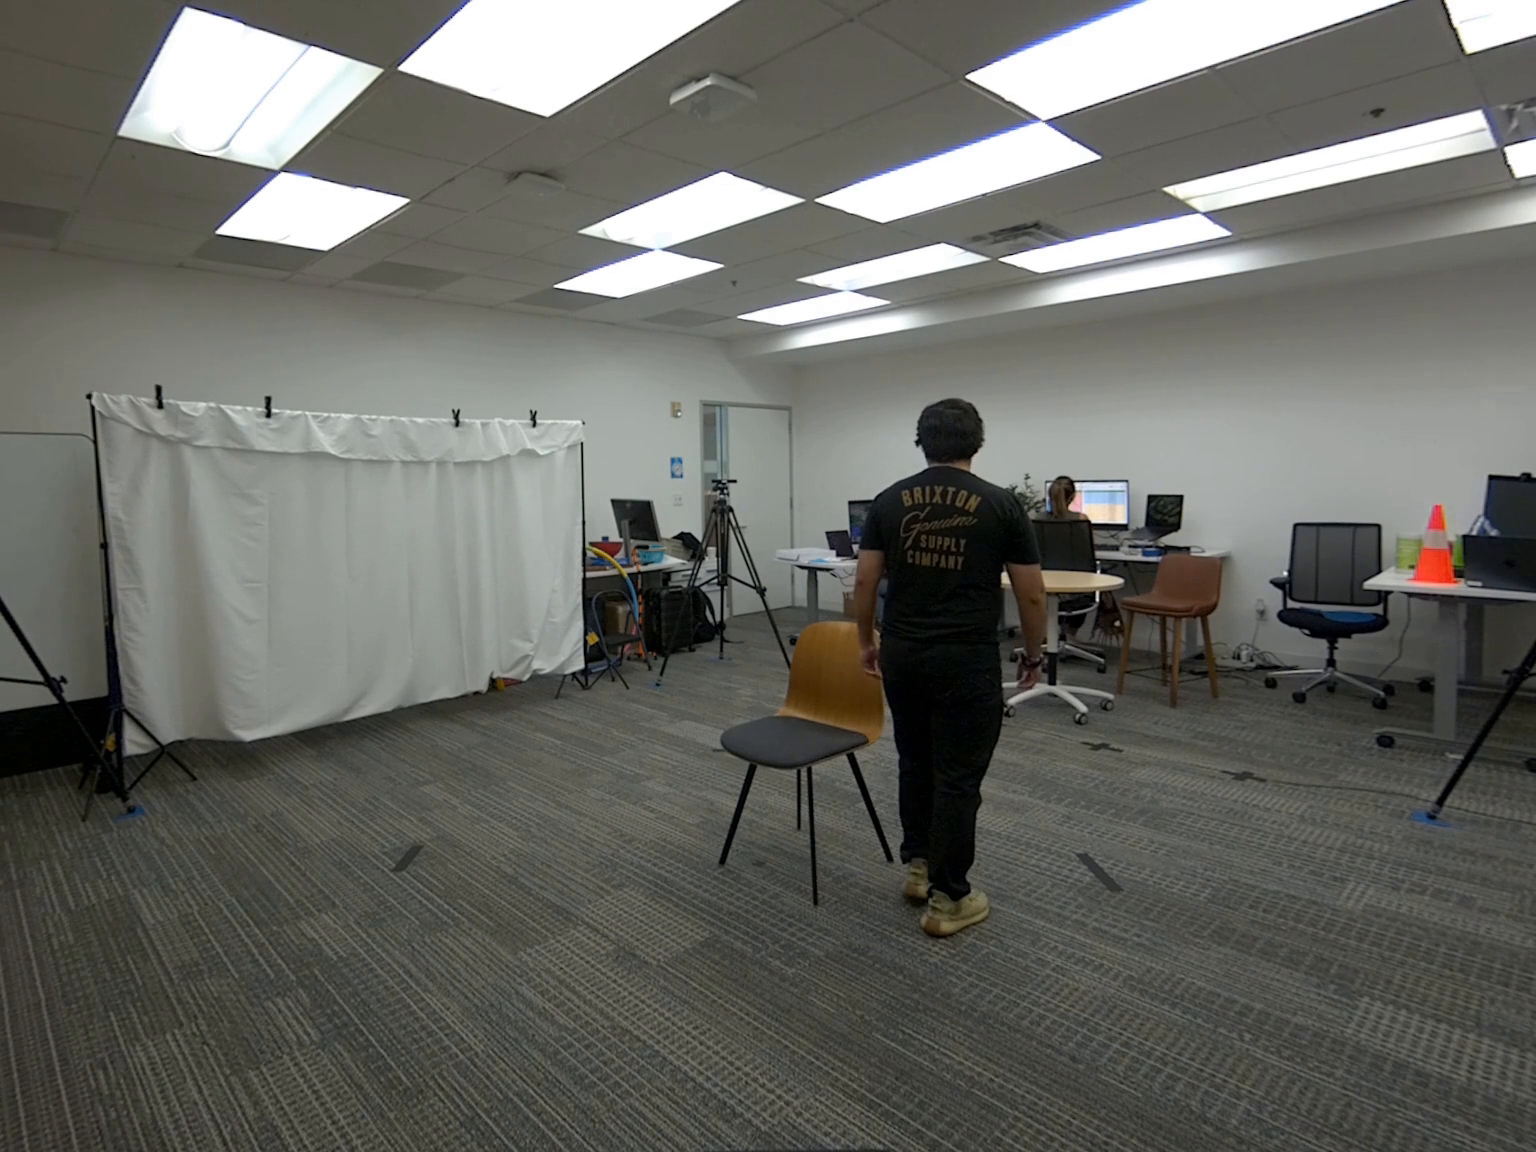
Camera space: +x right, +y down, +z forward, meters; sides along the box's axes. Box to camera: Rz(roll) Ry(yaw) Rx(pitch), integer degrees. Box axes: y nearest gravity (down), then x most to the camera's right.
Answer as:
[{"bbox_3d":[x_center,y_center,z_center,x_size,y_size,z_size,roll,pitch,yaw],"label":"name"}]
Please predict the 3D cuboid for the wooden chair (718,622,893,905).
[{"bbox_3d":[0.128,0.620,3.072,0.493,0.877,0.508,4,2,44],"label":"wooden chair"}]
